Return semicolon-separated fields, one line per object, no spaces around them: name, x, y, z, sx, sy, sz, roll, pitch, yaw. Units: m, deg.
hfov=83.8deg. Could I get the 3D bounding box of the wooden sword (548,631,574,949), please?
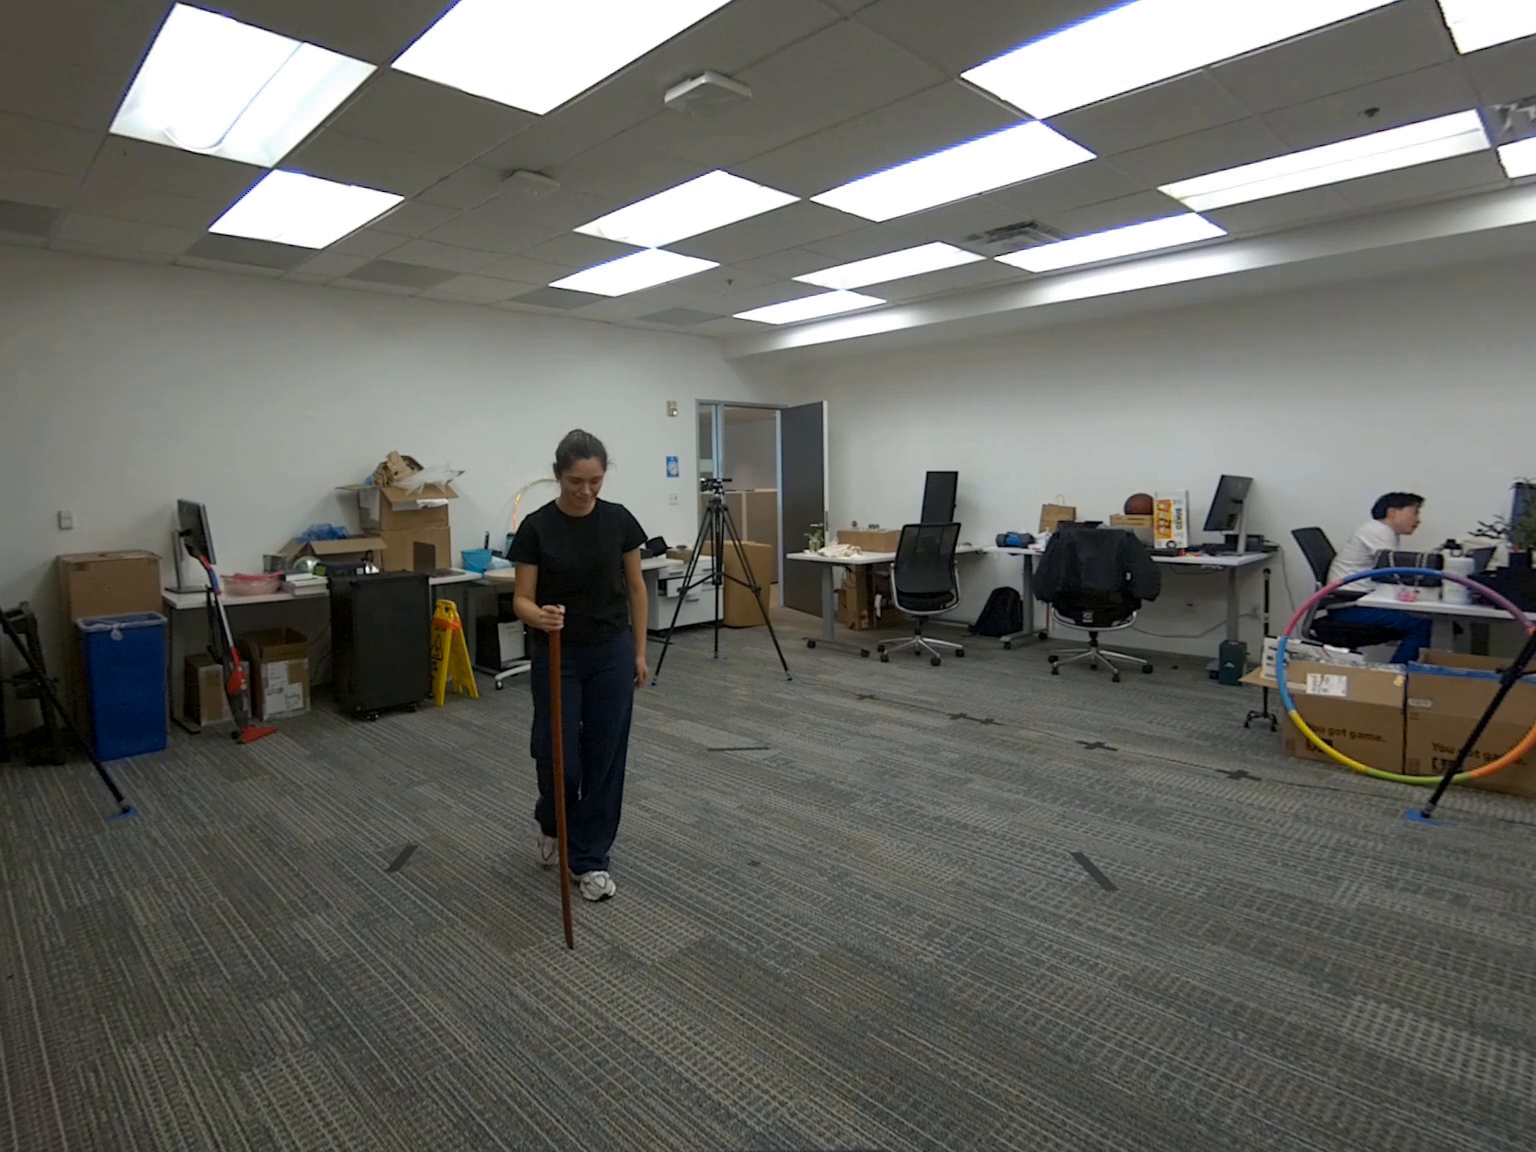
wooden sword;-0.637;0.616;2.625;0.024;1.029;0.050;-6;-5;27
